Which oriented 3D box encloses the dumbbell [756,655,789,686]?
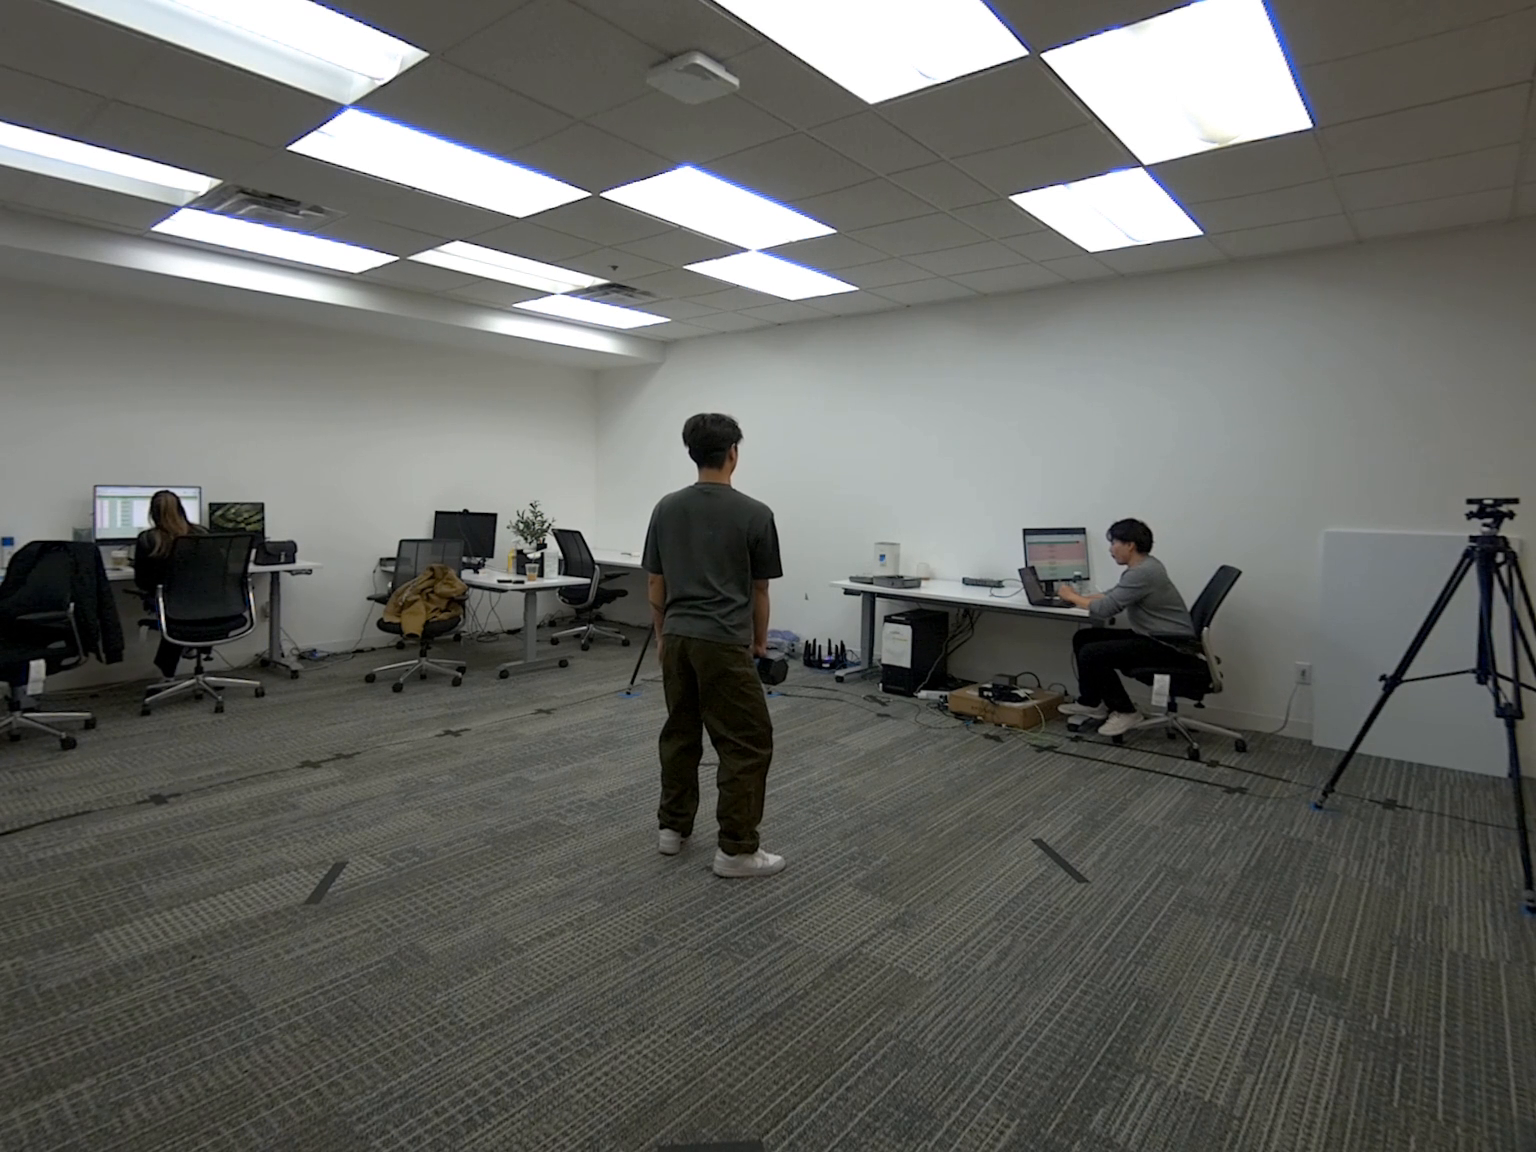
[{"bbox_3d":[-0.079,0.350,3.299,0.303,0.124,0.104,6,-18,39],"label":"dumbbell"}]
